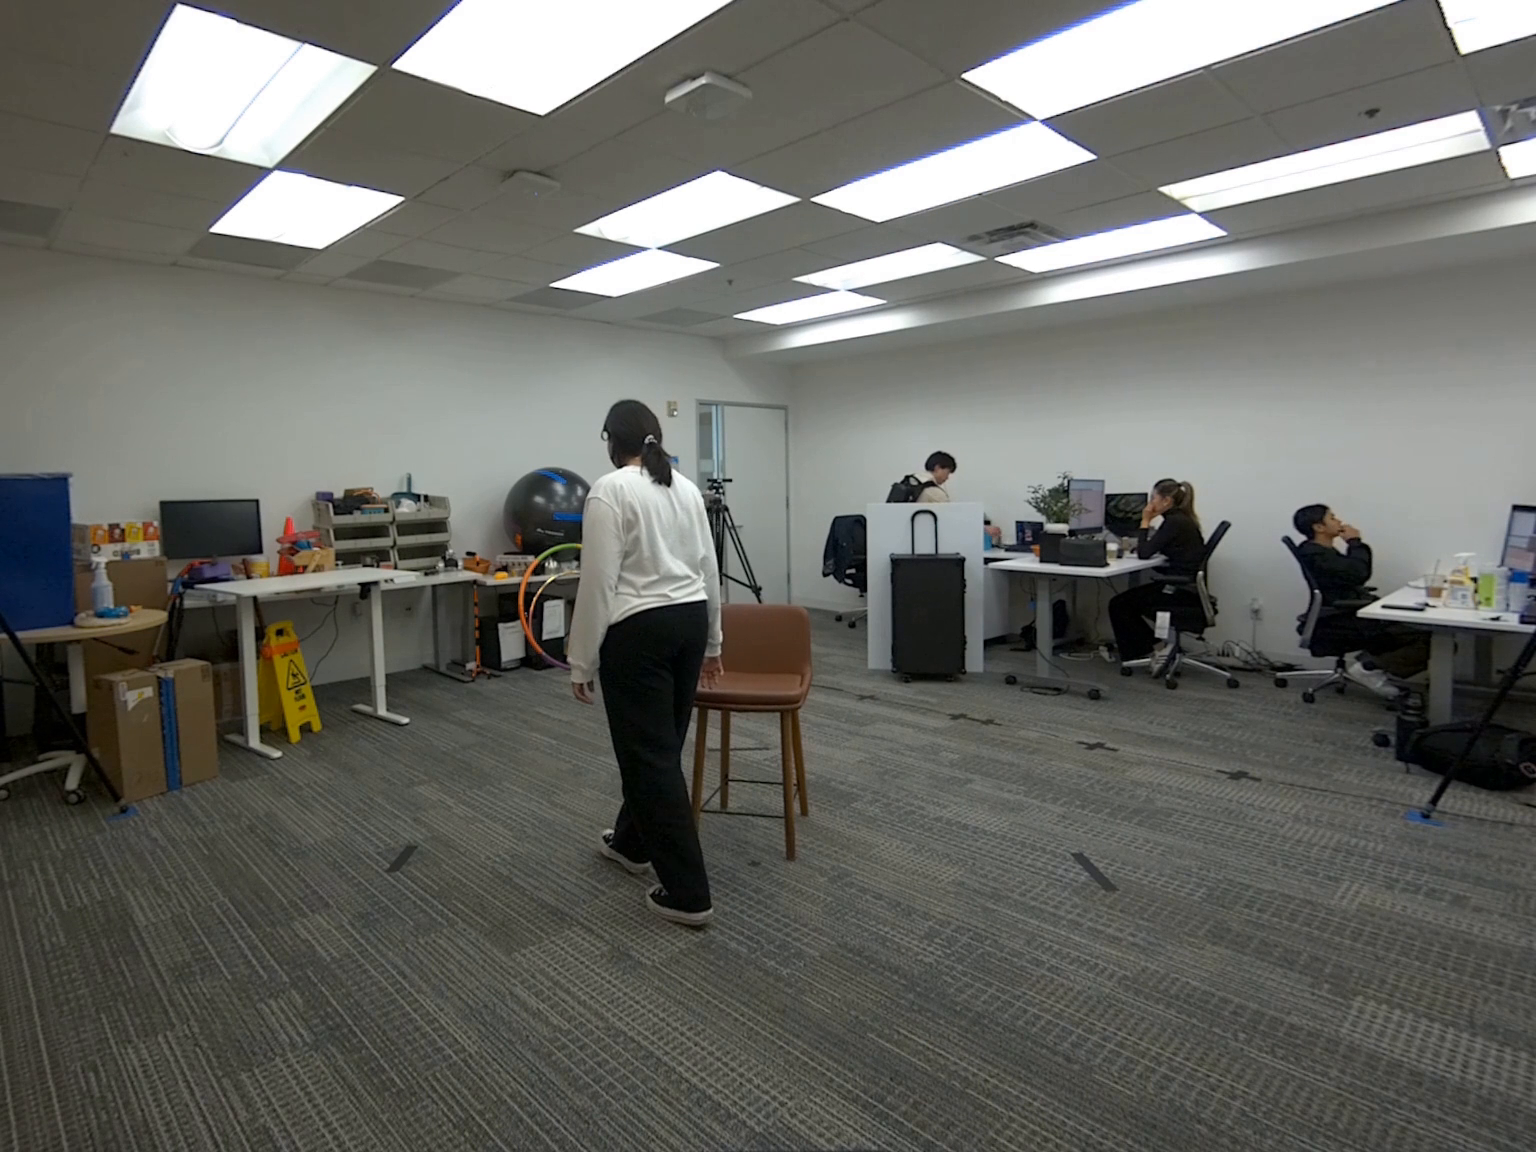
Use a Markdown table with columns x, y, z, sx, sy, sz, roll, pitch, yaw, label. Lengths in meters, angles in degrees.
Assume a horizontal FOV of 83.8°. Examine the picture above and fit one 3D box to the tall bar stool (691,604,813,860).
| x | y | z | sx | sy | sz | roll | pitch | yaw | label |
| --- | --- | --- | --- | --- | --- | --- | --- | --- | --- |
| -0.061 | 0.579 | 3.369 | 0.463 | 0.888 | 0.462 | 0 | 2 | 14 | tall bar stool |
